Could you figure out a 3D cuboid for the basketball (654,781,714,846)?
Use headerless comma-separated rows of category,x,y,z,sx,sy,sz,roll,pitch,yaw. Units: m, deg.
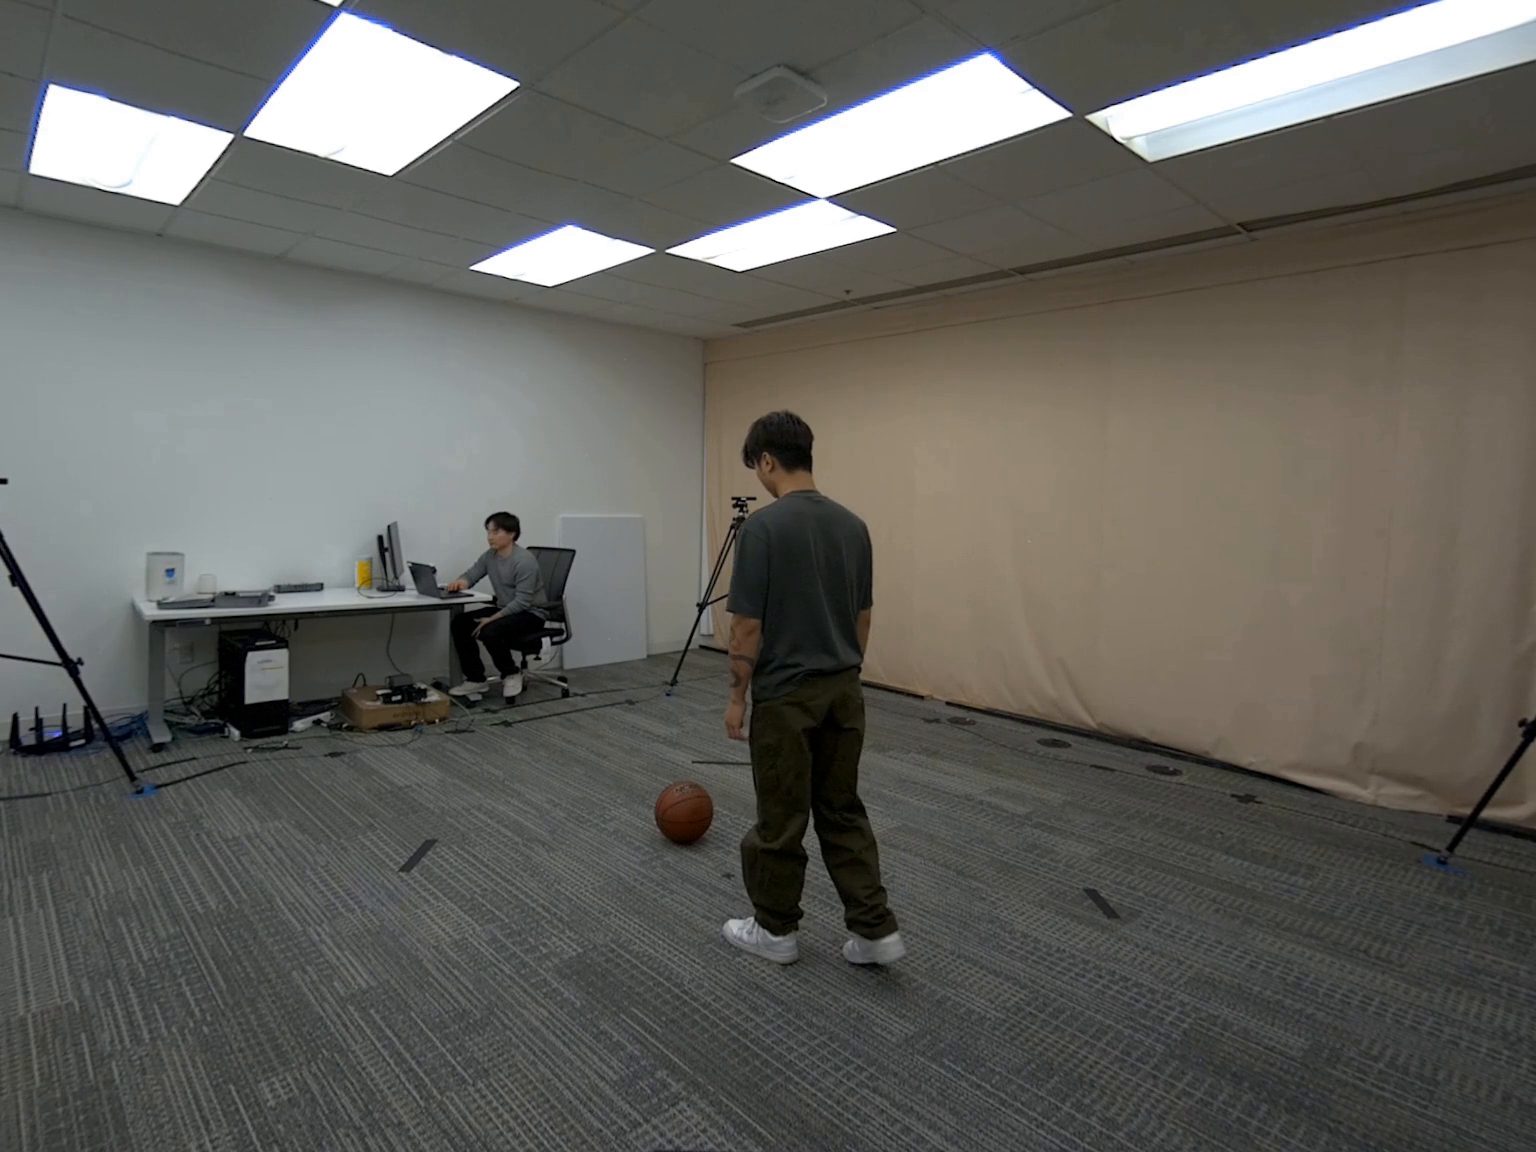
basketball,-0.347,0.952,3.406,0.236,0.235,0.237,1,4,-1
